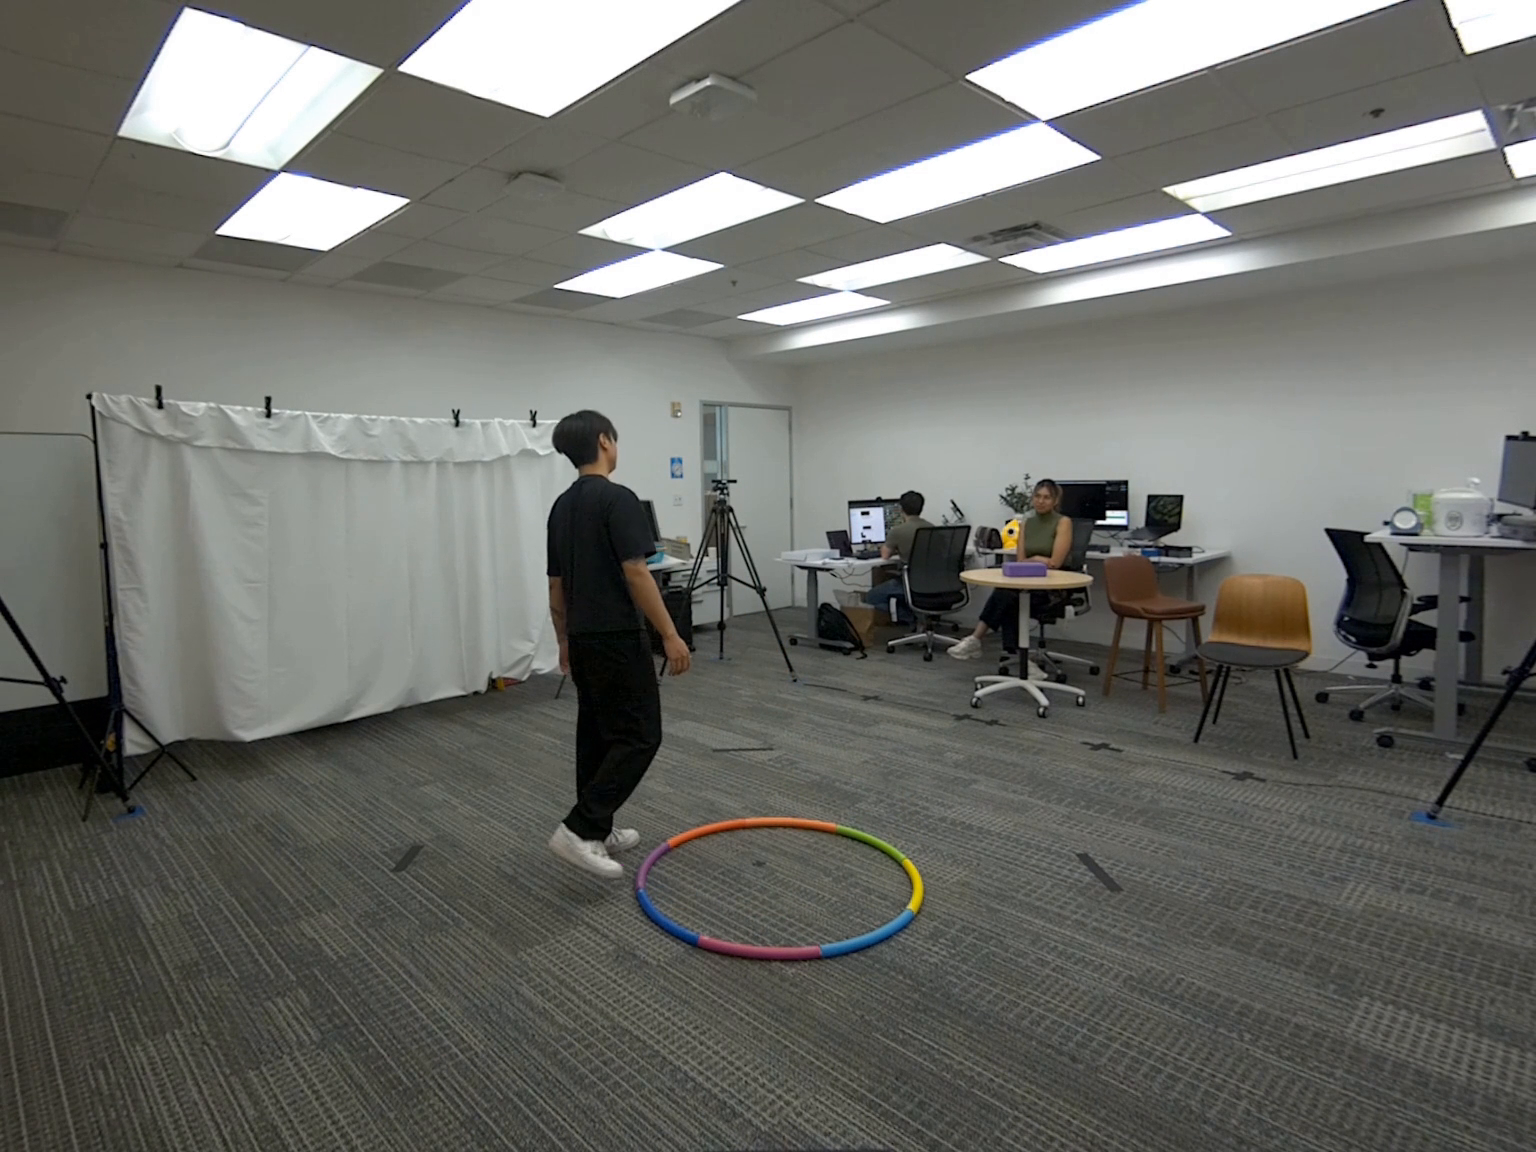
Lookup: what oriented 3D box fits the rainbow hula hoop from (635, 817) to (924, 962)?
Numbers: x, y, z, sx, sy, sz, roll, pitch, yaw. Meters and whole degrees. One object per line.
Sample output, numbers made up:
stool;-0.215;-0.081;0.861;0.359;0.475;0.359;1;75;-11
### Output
rainbow hula hoop;0.031;1.032;2.967;0.978;0.035;0.984;-1;6;-2
